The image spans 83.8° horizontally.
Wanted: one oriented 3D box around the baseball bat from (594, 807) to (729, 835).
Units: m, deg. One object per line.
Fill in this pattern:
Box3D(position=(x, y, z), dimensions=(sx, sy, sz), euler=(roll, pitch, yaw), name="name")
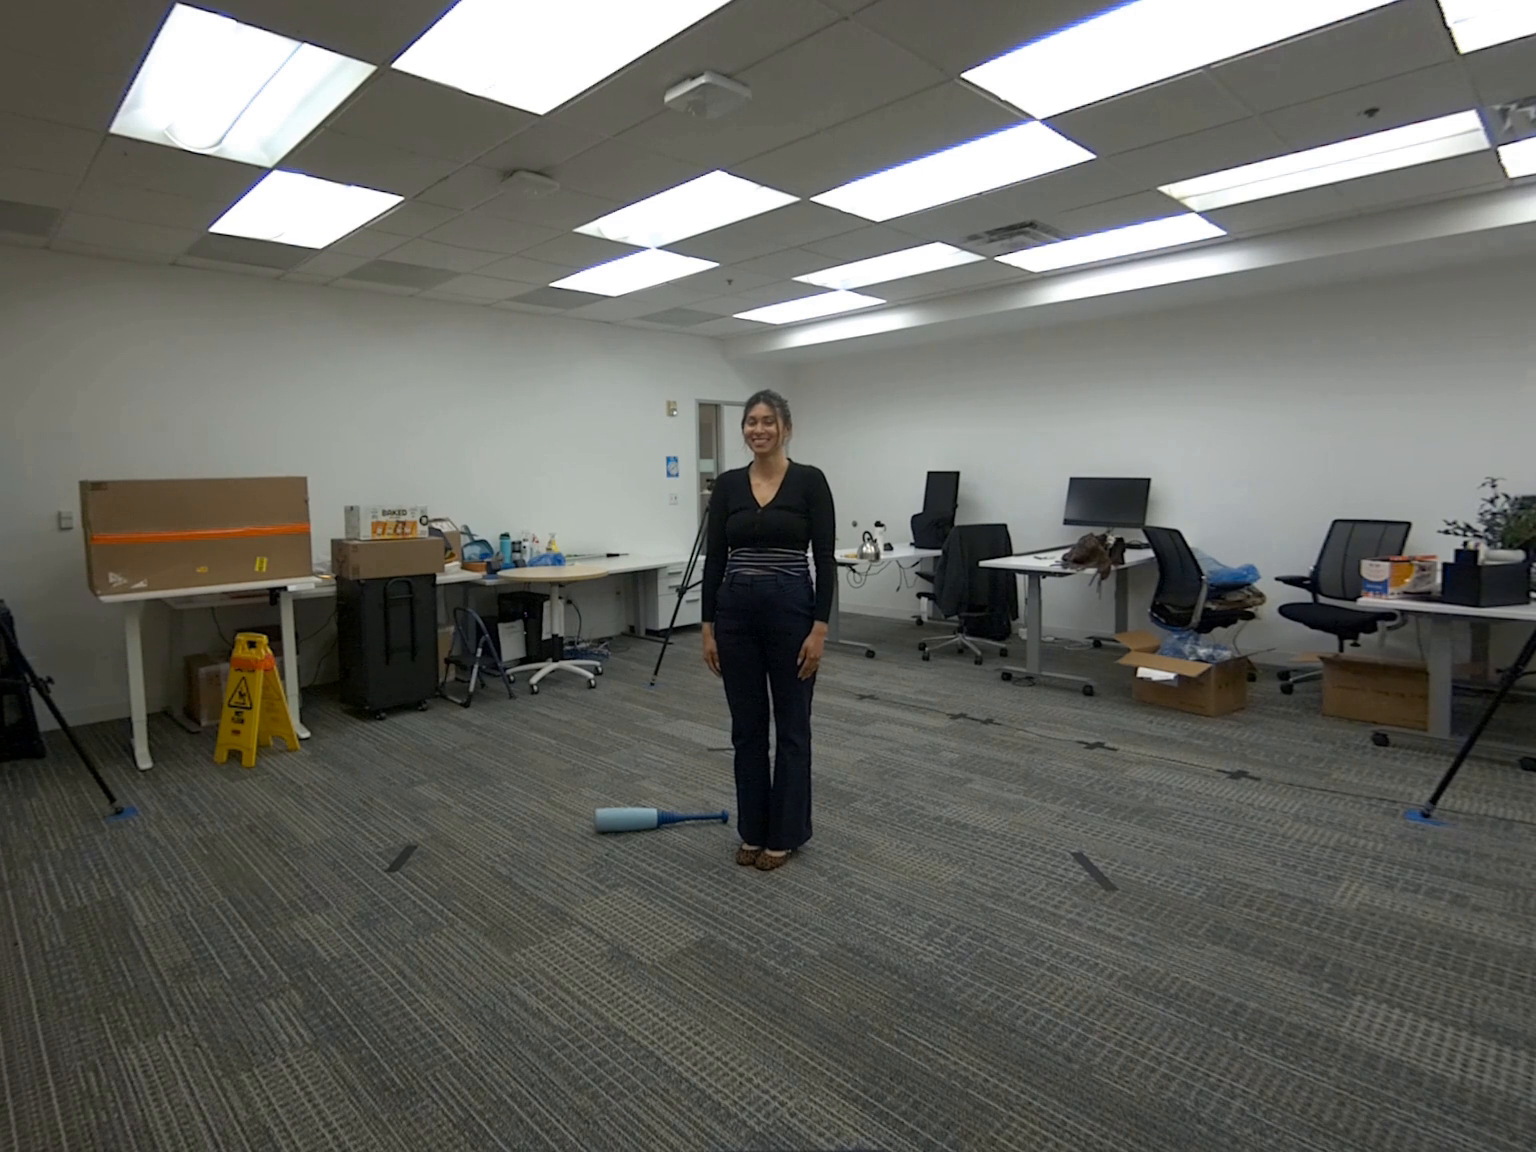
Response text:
Box3D(position=(-0.429, 0.980, 3.438), dimensions=(0.538, 0.089, 0.090), euler=(1, 4, -9), name="baseball bat")
